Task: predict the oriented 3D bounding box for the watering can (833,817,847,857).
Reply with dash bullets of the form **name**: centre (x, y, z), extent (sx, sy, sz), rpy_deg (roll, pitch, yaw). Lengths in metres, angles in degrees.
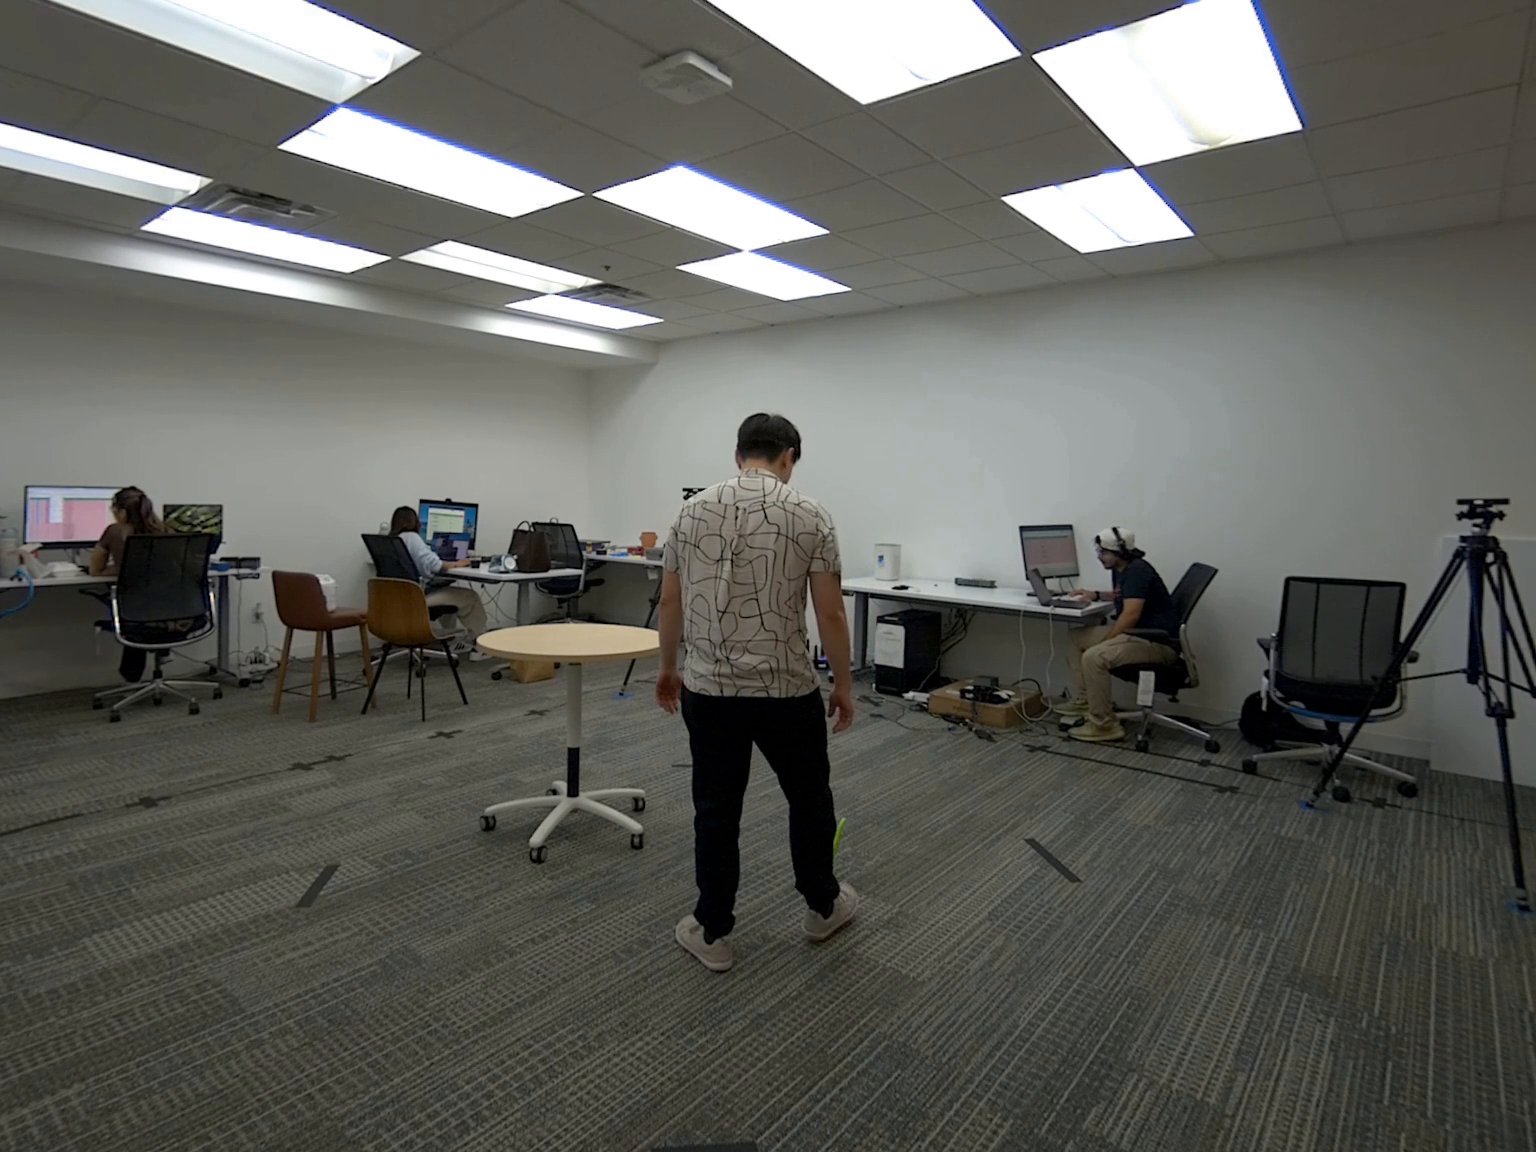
- **watering can**: centre (0.213, 0.991, 3.045), extent (0.270, 0.176, 0.101), rpy_deg (-4, 7, -42)
